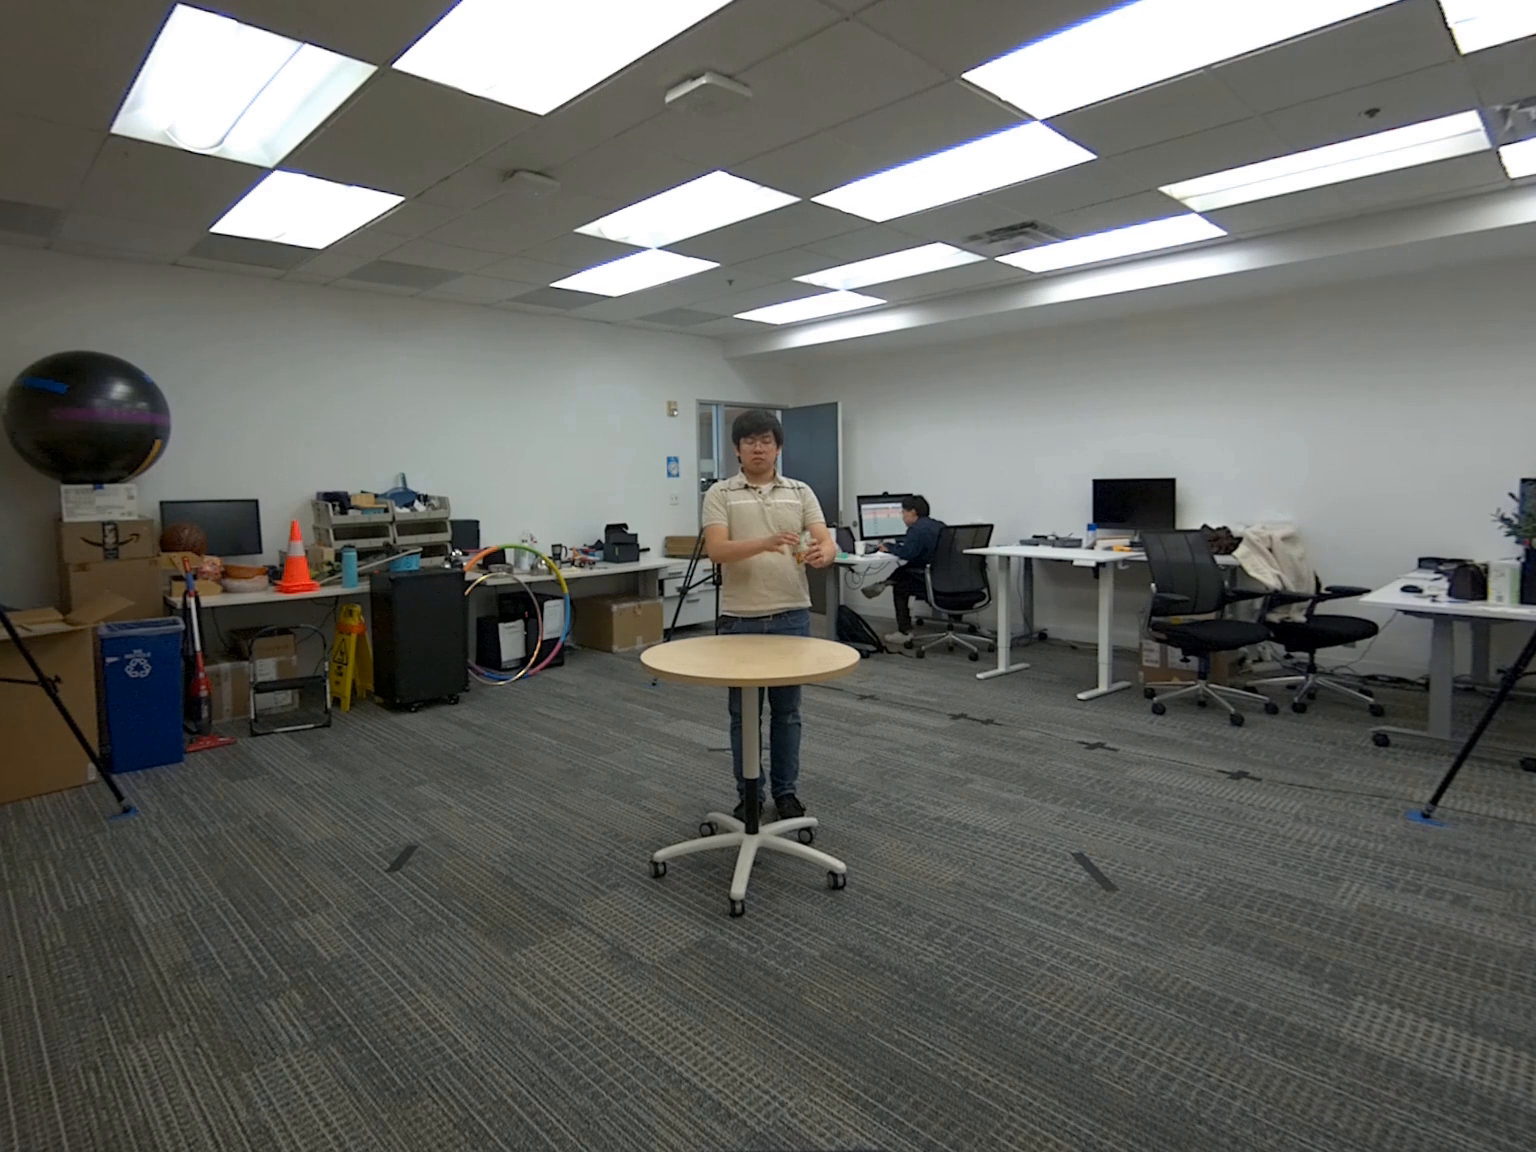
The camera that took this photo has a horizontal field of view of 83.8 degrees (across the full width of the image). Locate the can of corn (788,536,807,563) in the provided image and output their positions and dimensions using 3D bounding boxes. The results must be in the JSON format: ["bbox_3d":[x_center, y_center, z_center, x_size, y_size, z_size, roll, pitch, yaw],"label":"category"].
[{"bbox_3d":[0.075,-0.096,3.147,0.074,0.111,0.074,-1,3,-2],"label":"can of corn"}]
